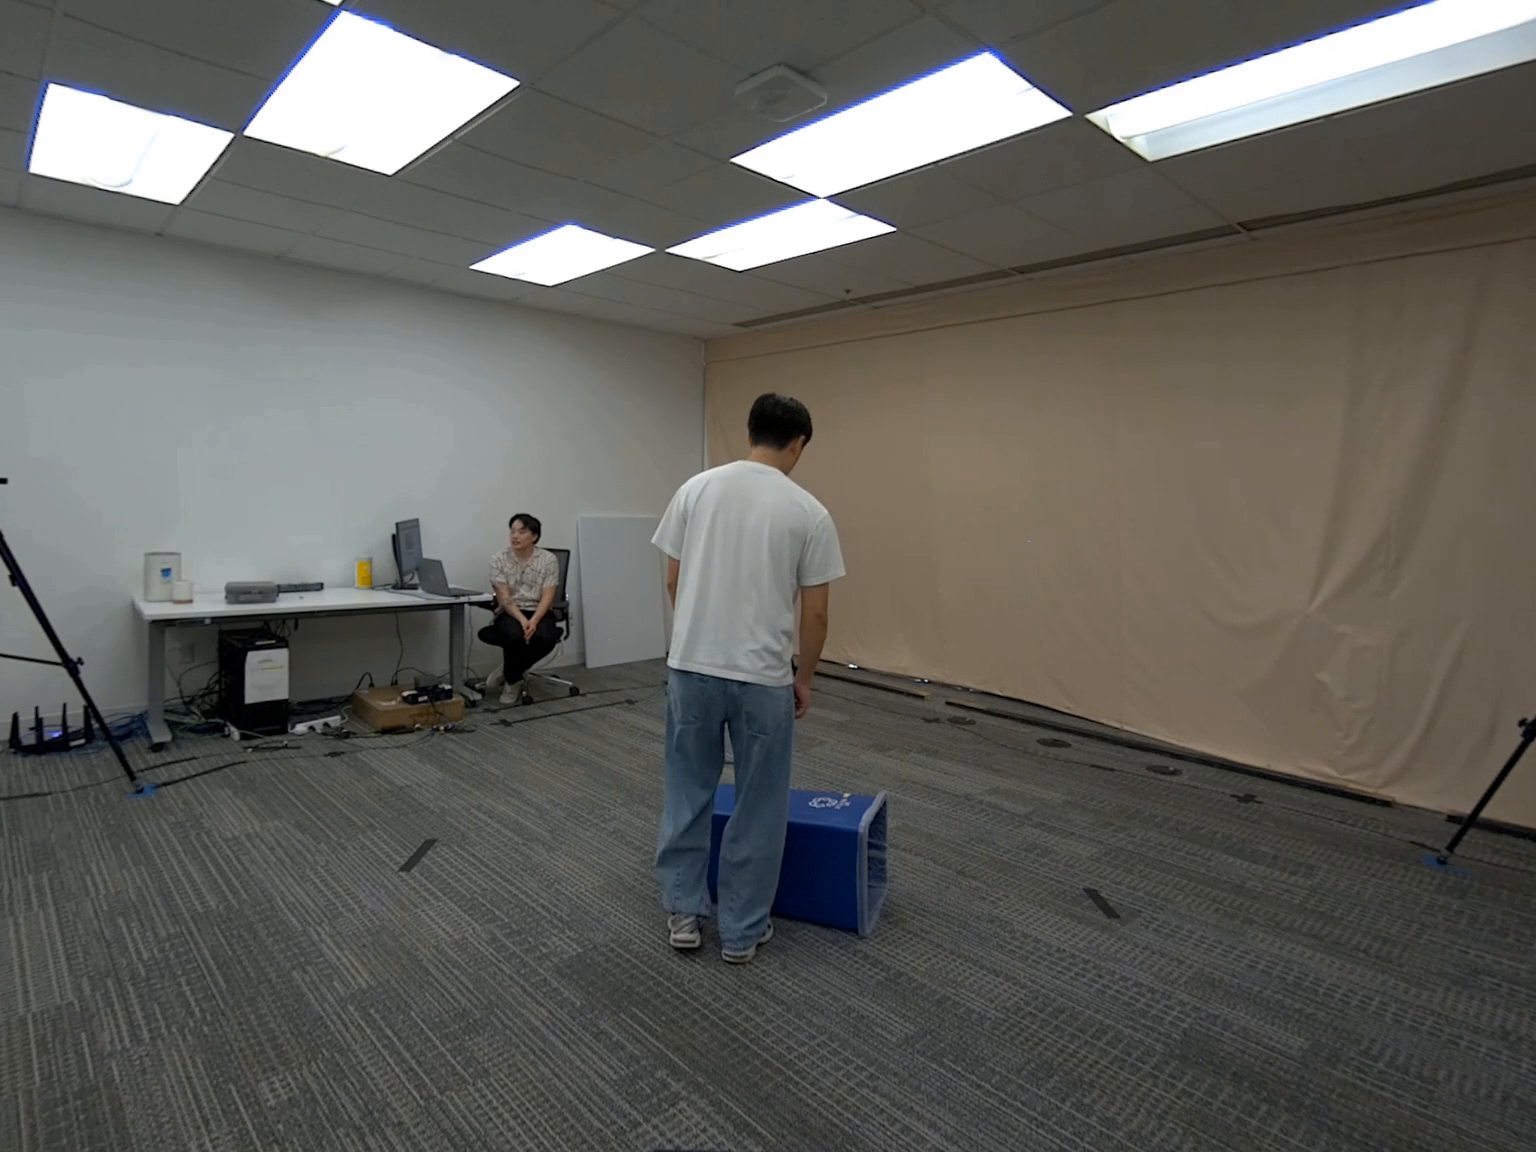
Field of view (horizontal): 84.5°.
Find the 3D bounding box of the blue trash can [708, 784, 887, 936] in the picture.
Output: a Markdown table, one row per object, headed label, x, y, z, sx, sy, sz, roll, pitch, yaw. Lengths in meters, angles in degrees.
| label | x | y | z | sx | sy | sz | roll | pitch | yaw |
| --- | --- | --- | --- | --- | --- | --- | --- | --- | --- |
| blue trash can | 0.027 | 0.956 | 2.946 | 0.725 | 0.377 | 0.369 | 0 | 4 | 21 |
